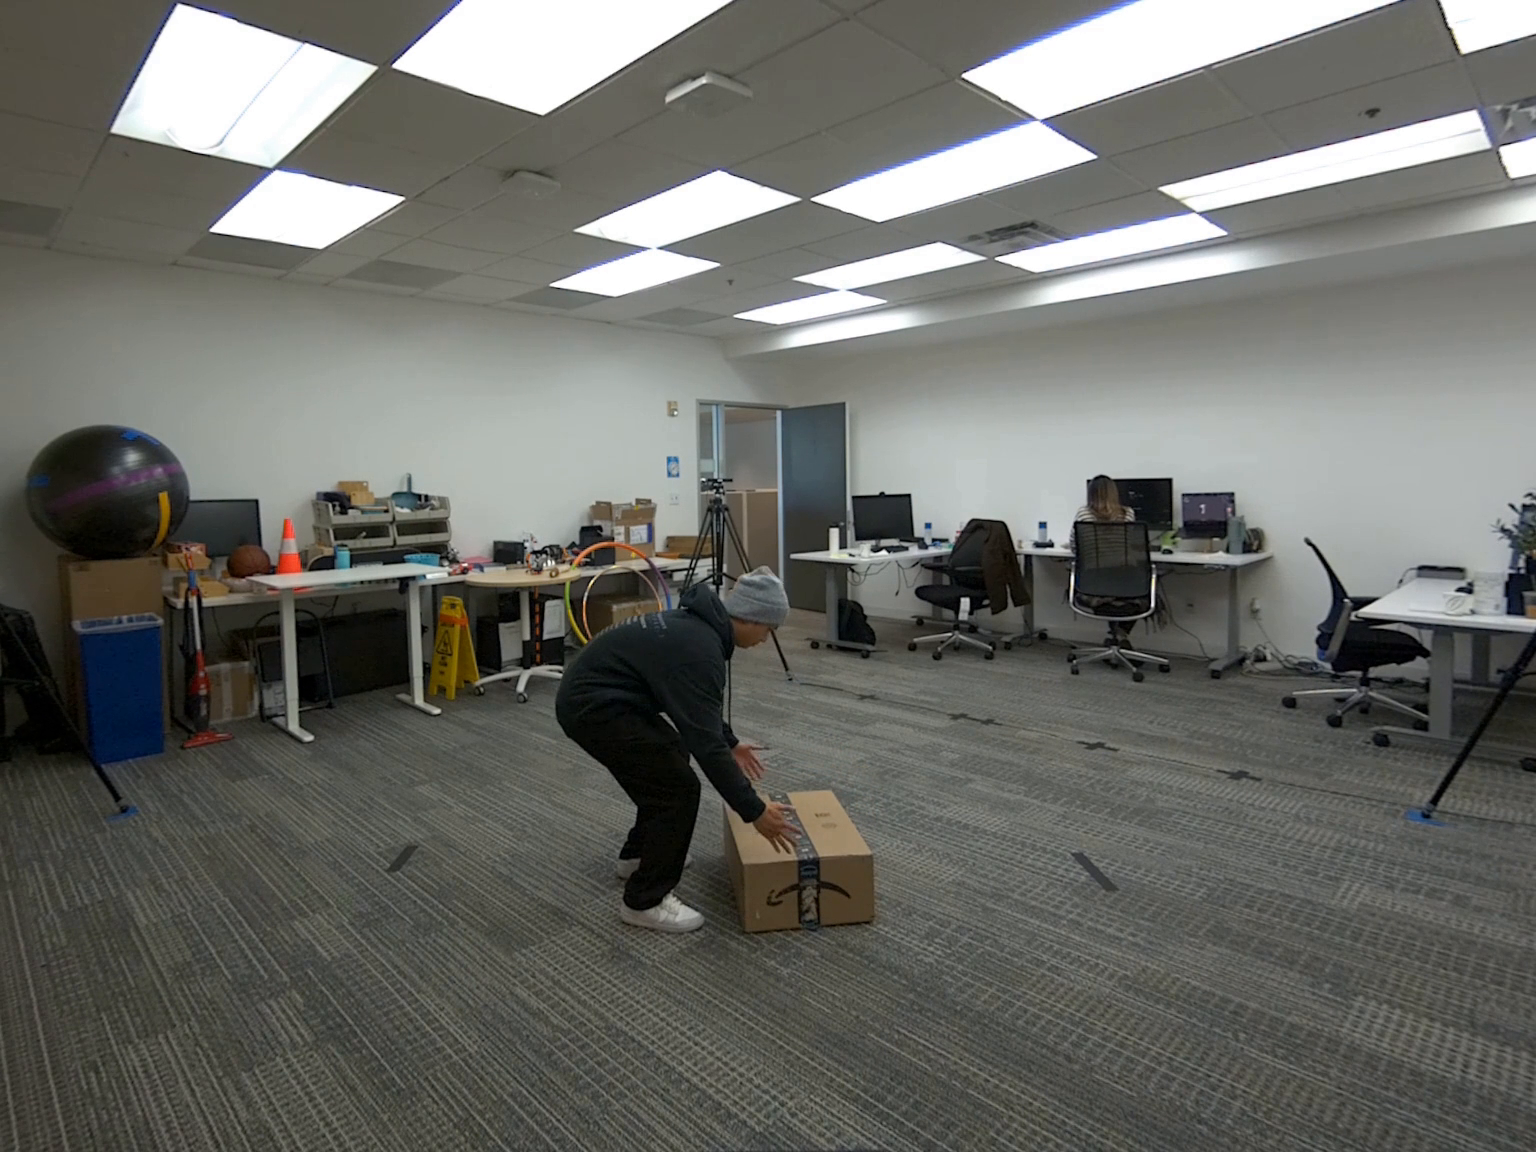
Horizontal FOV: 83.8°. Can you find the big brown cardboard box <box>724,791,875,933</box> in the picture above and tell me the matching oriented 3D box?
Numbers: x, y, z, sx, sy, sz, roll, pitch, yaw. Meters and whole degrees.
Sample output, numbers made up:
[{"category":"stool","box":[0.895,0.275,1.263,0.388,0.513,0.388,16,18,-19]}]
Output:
[{"category":"big brown cardboard box","box":[0.087,0.951,2.919,0.415,0.232,0.596,-3,7,-8]}]
